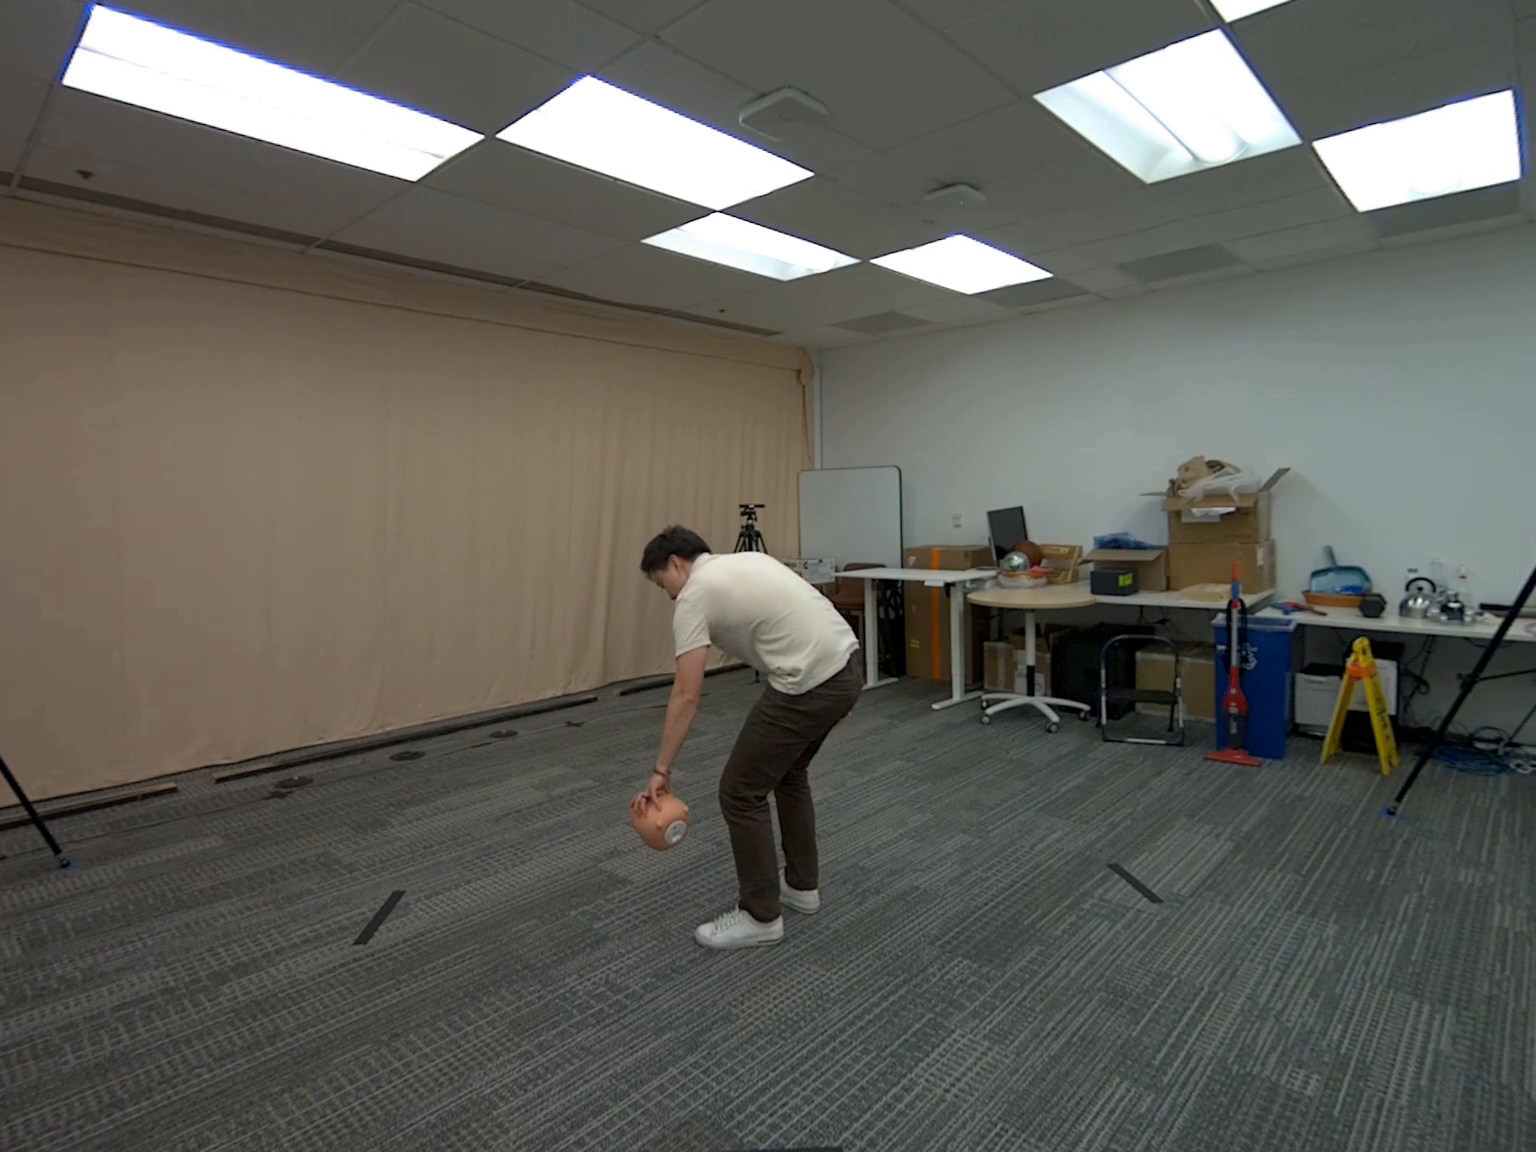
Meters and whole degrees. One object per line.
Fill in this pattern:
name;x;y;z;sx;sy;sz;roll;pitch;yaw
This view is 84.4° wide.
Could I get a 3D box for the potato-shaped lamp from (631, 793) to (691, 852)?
potato-shaped lamp;-0.343;0.763;2.651;0.161;0.169;0.205;-23;37;-38
